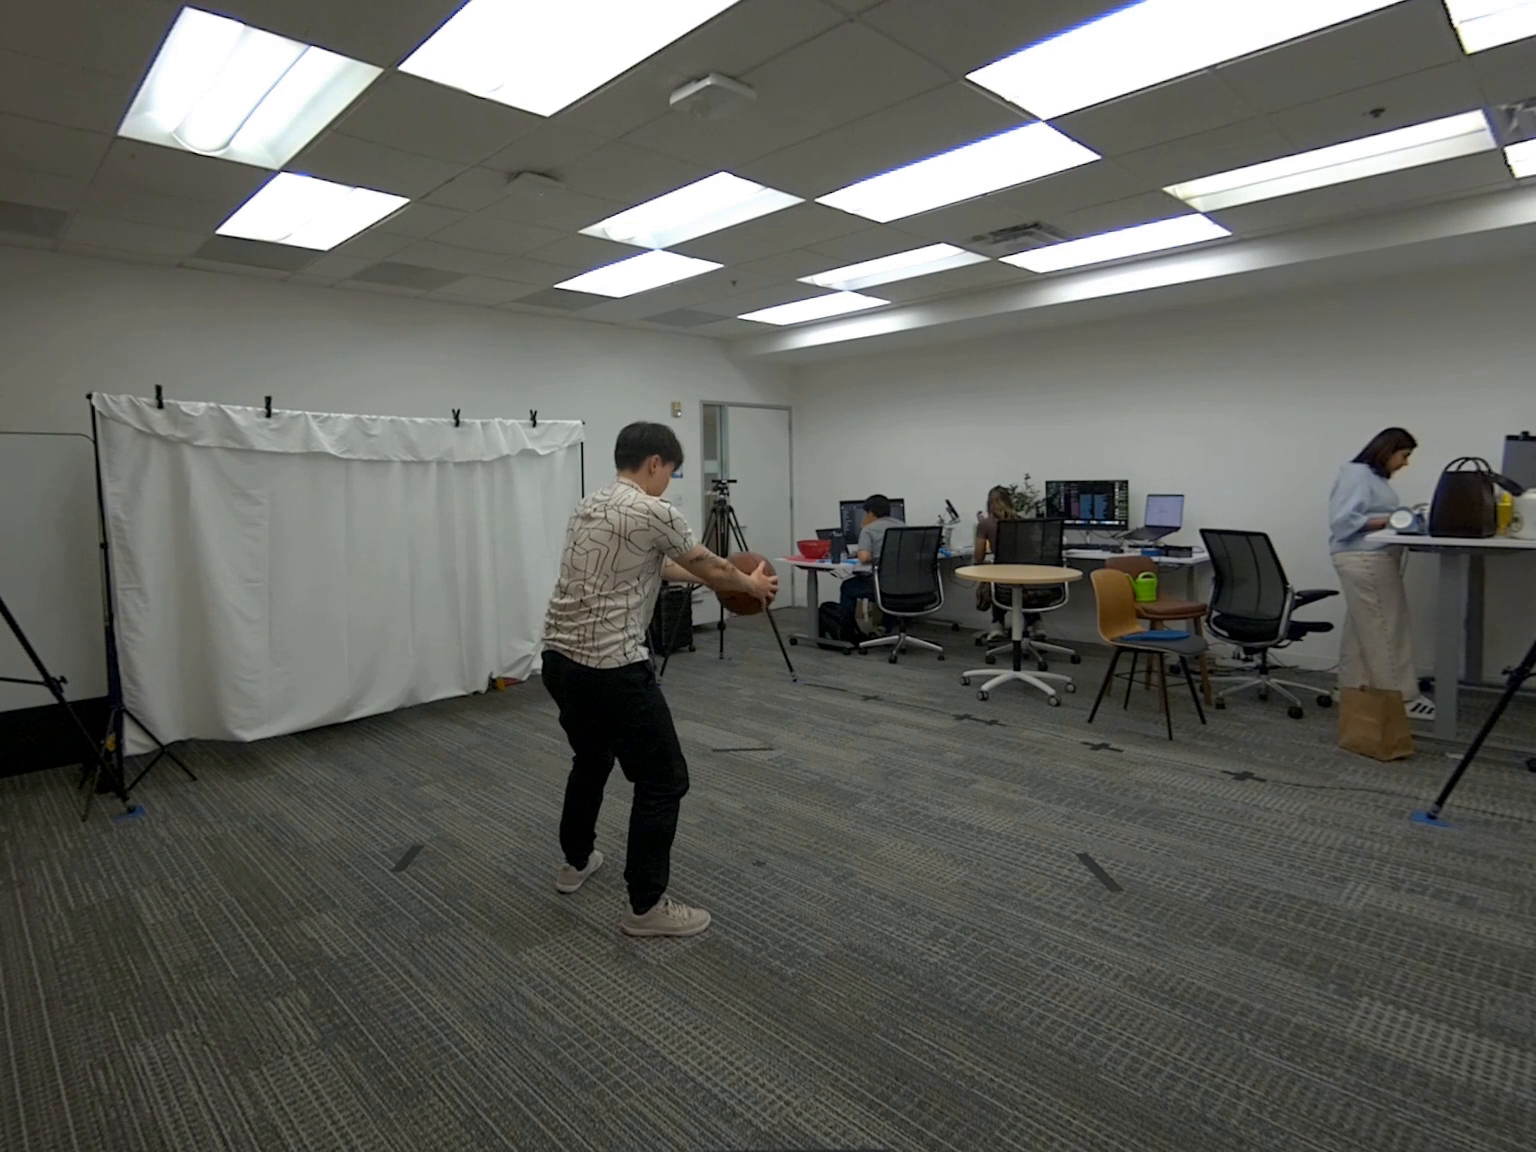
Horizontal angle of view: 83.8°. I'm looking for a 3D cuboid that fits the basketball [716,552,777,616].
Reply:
[{"bbox_3d":[-0.084,0.034,3.167,0.236,0.235,0.237,-1,5,-2],"label":"basketball"}]
